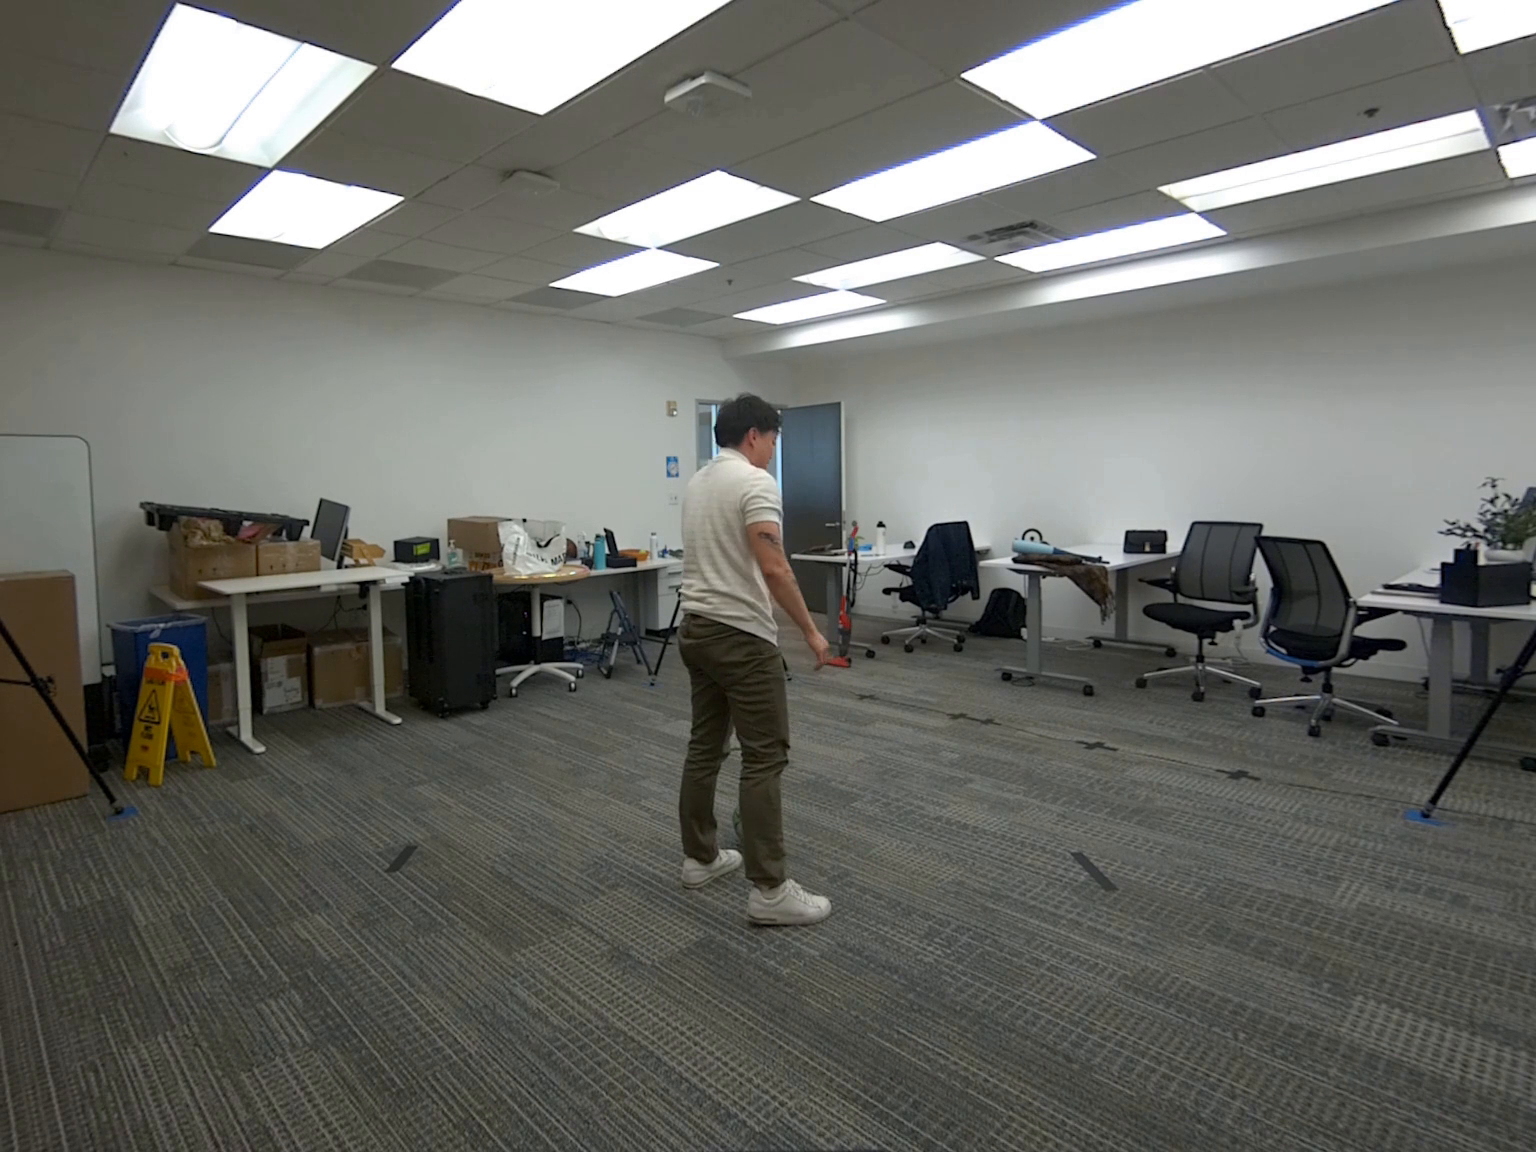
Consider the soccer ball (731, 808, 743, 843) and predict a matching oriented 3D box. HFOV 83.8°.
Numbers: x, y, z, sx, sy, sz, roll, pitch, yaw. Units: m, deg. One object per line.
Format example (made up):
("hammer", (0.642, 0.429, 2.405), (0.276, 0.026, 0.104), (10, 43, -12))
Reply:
("soccer ball", (-0.036, 0.938, 3.259), (0.187, 0.187, 0.188), (-1, 5, -2))
